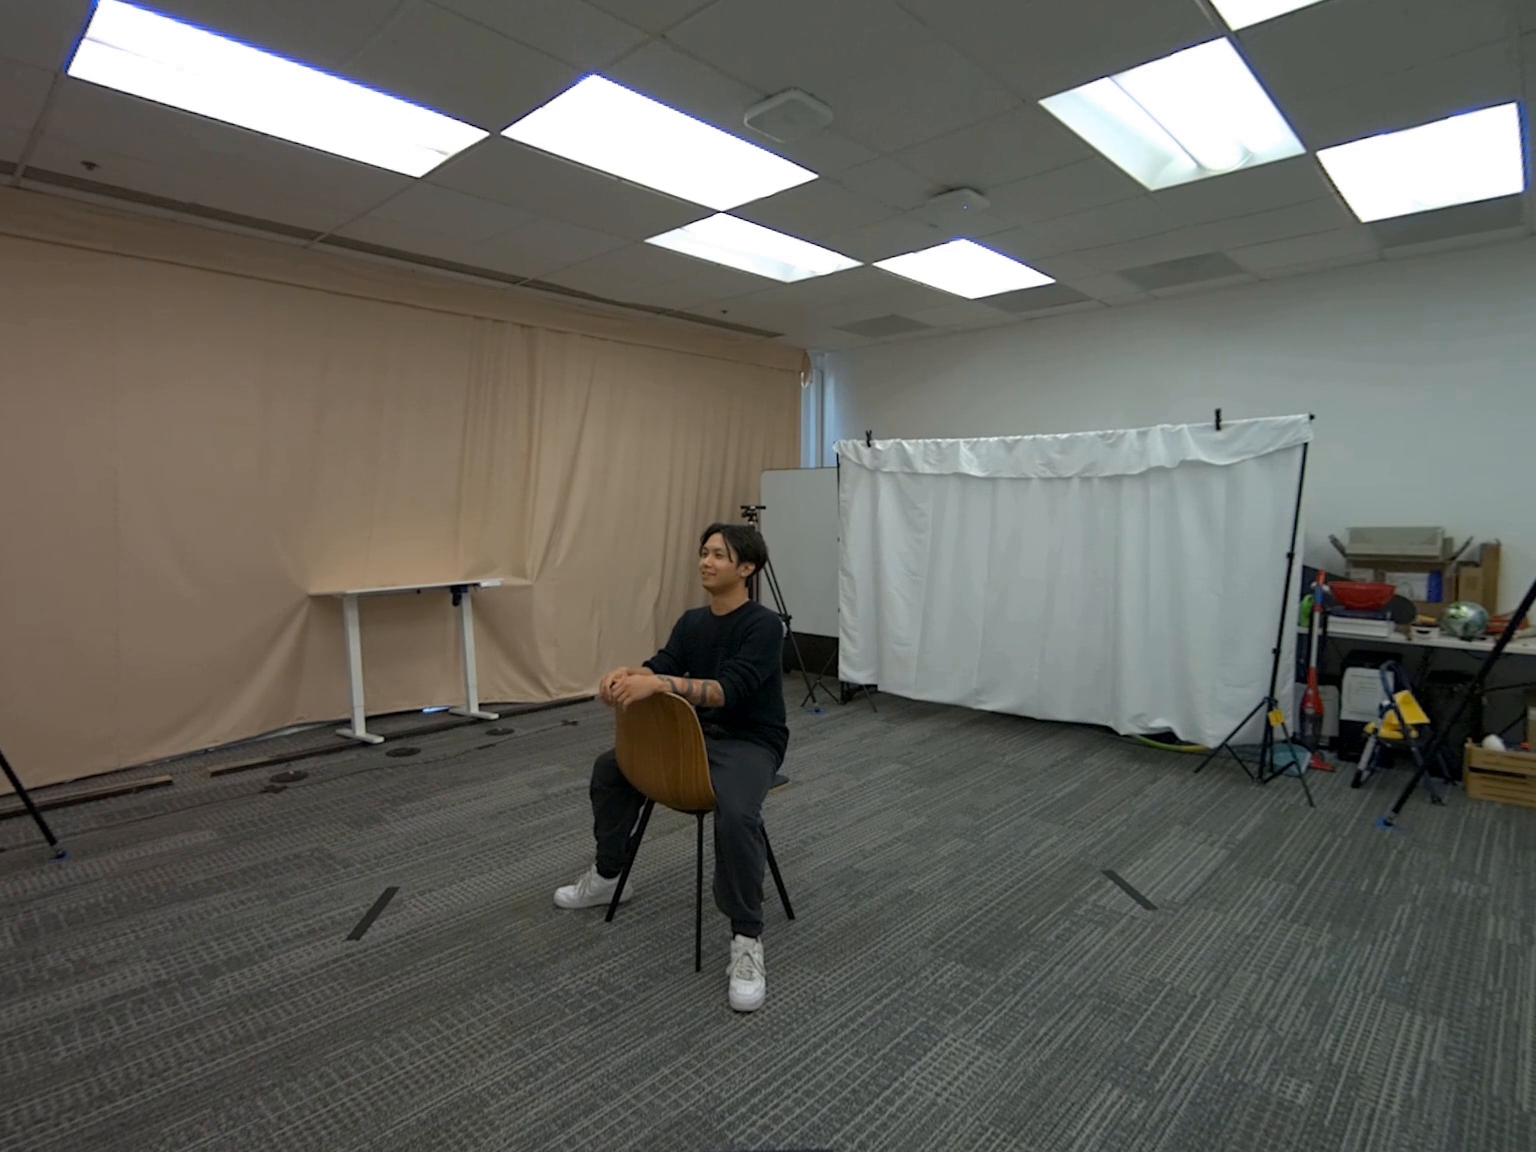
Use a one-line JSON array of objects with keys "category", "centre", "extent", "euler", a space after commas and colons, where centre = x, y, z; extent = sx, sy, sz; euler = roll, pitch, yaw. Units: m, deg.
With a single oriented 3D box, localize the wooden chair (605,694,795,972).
[{"category": "wooden chair", "centre": [-0.220, 0.728, 2.817], "extent": [0.494, 0.874, 0.508], "euler": [2, 8, 43]}]
